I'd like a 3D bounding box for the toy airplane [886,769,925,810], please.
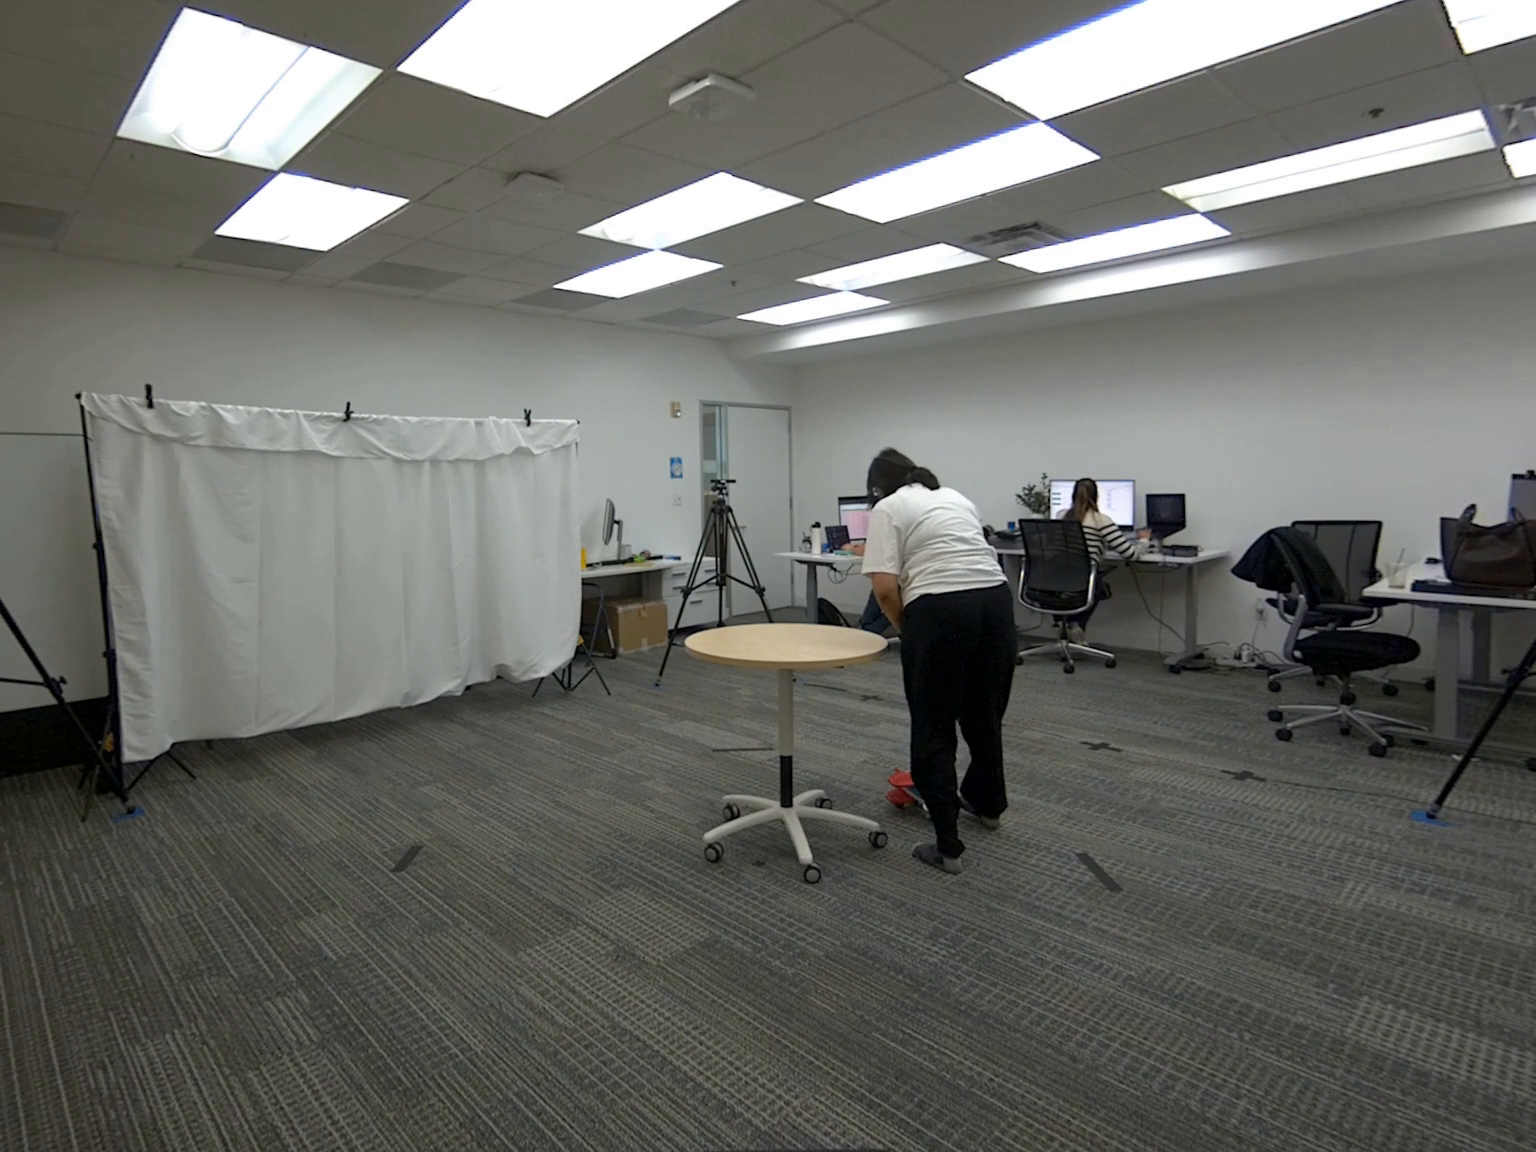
[{"bbox_3d":[0.653,0.913,3.583,0.266,0.156,0.244,0,3,37],"label":"toy airplane"}]
